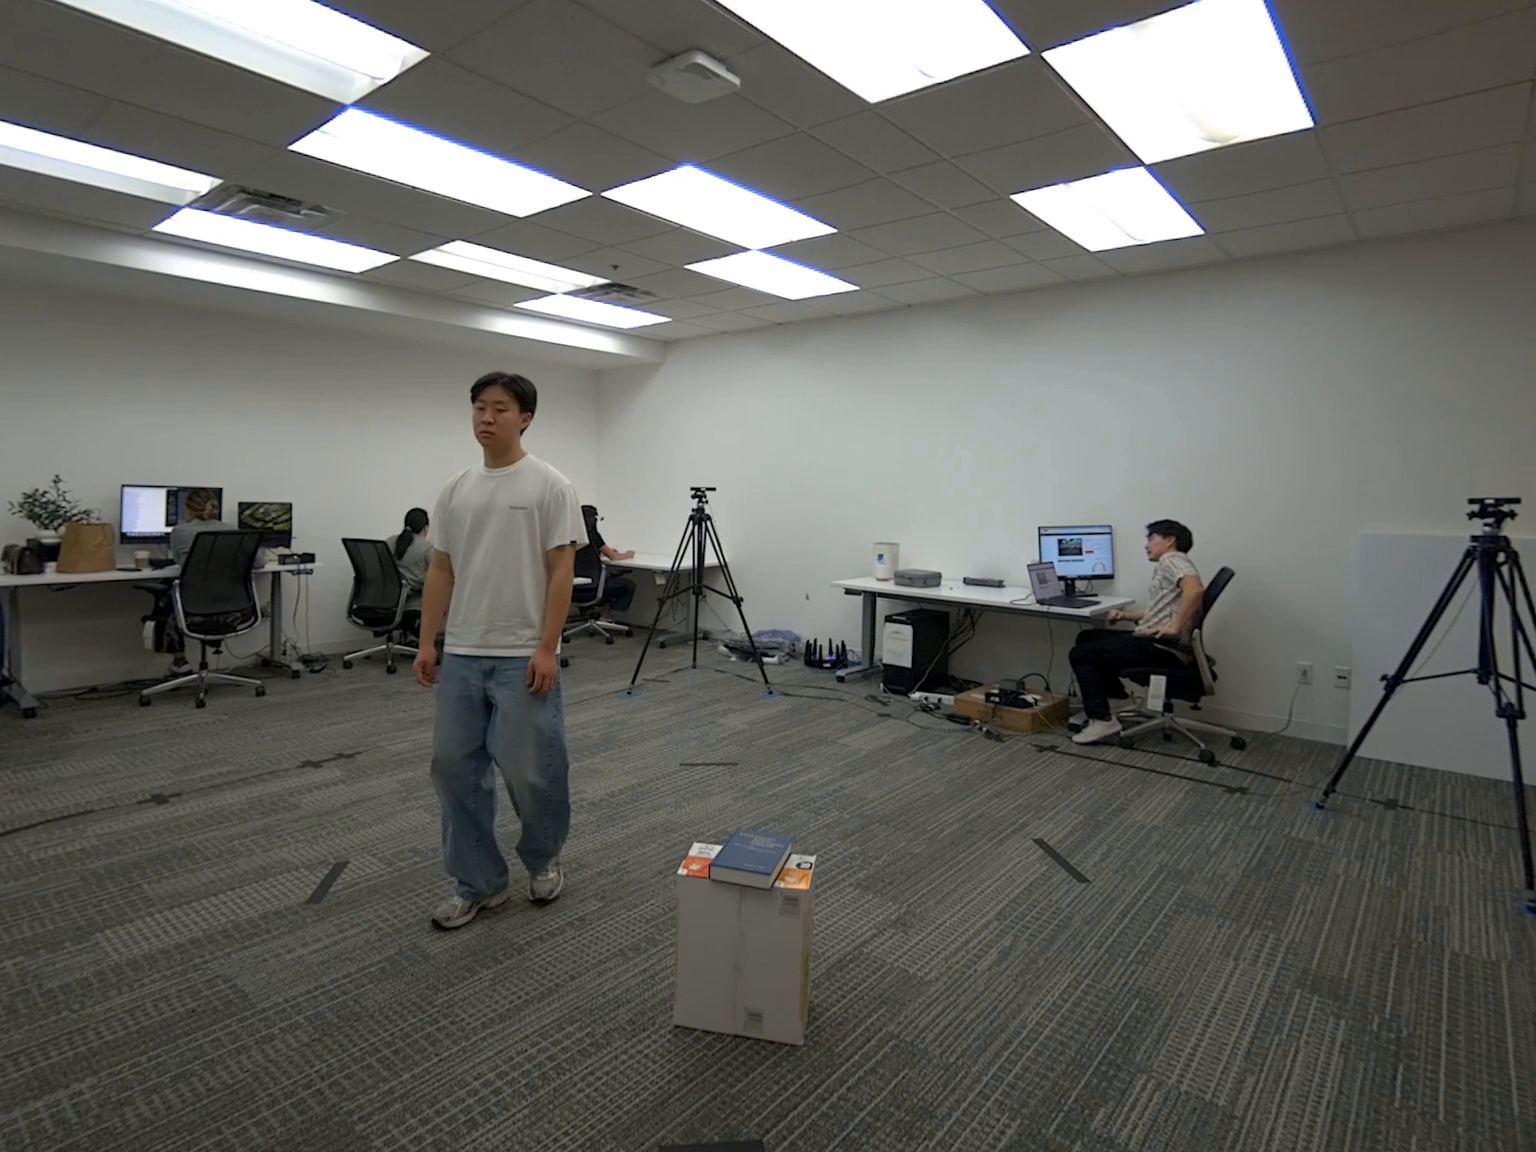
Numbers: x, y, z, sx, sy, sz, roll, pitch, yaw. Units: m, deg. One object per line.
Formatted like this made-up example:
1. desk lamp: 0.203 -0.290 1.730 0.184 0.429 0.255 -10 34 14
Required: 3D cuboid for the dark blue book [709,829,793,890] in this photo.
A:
1. dark blue book: -0.049 0.735 2.221 0.166 0.045 0.241 3 5 15
